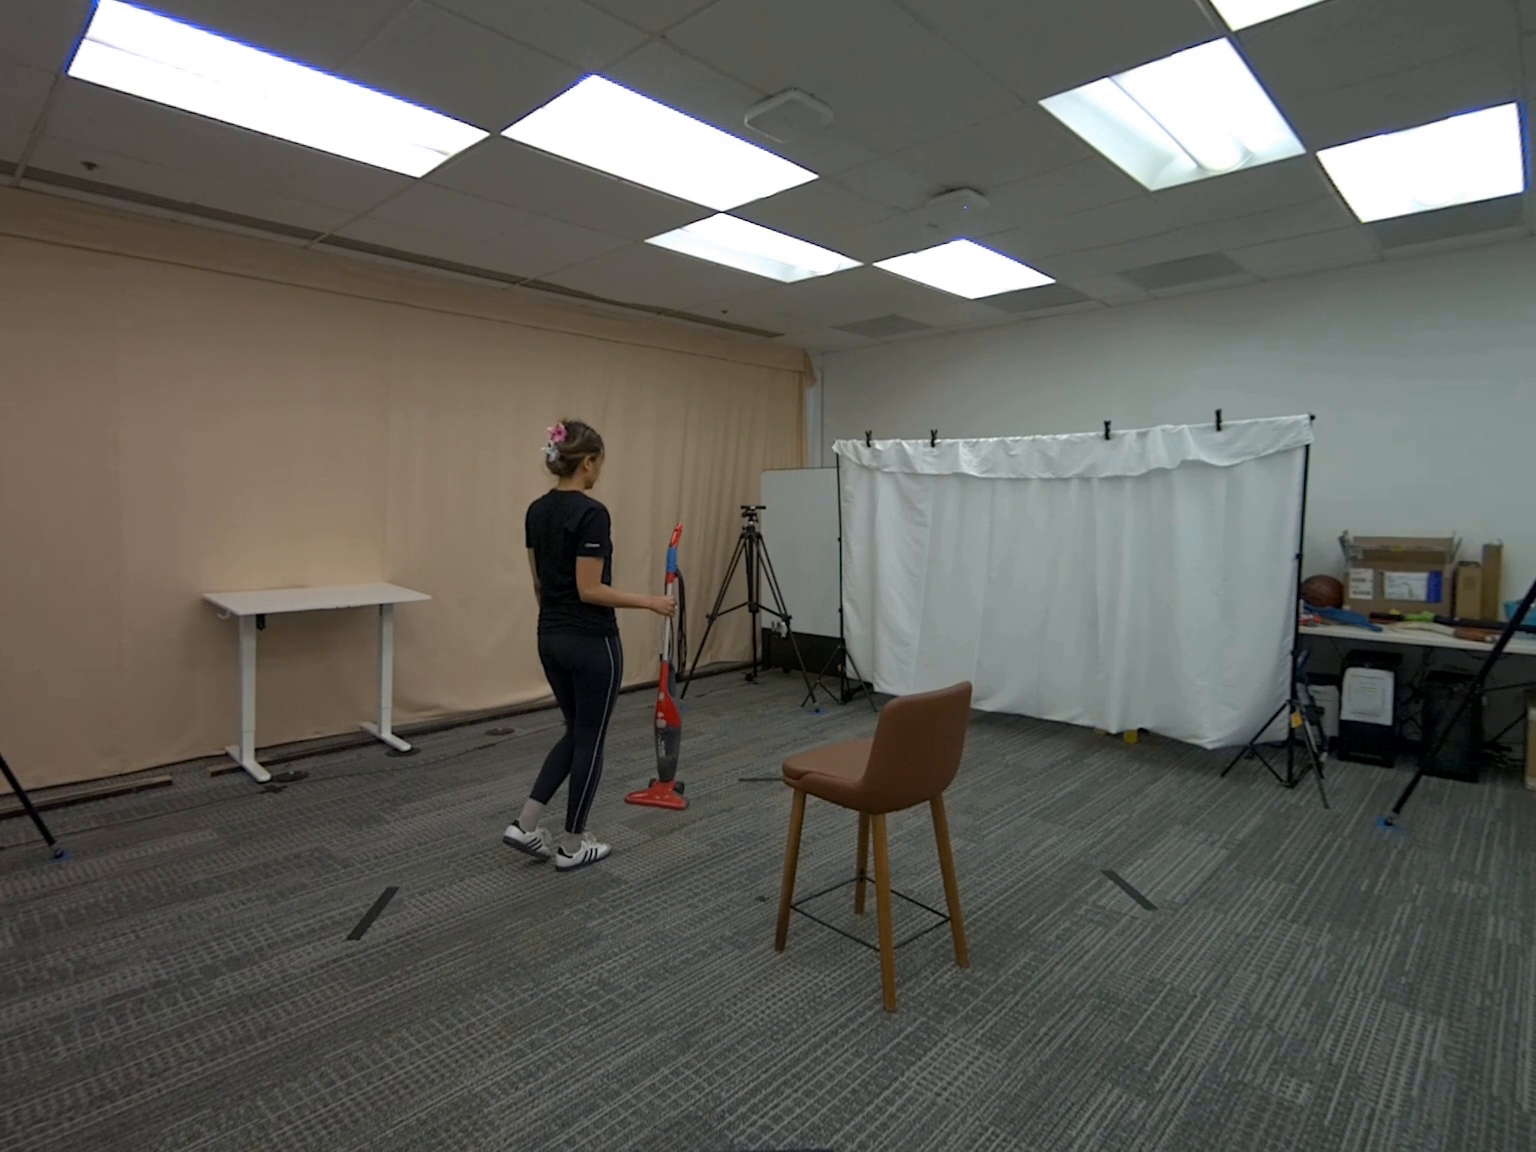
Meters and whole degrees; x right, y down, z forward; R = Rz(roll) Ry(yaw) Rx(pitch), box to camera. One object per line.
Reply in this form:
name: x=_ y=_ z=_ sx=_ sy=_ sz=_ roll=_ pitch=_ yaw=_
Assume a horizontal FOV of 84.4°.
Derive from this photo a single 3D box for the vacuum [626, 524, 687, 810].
vacuum: x=-0.375 y=0.332 z=3.263 sx=0.258 sy=1.053 sz=0.140 roll=1 pitch=-8 yaw=21
